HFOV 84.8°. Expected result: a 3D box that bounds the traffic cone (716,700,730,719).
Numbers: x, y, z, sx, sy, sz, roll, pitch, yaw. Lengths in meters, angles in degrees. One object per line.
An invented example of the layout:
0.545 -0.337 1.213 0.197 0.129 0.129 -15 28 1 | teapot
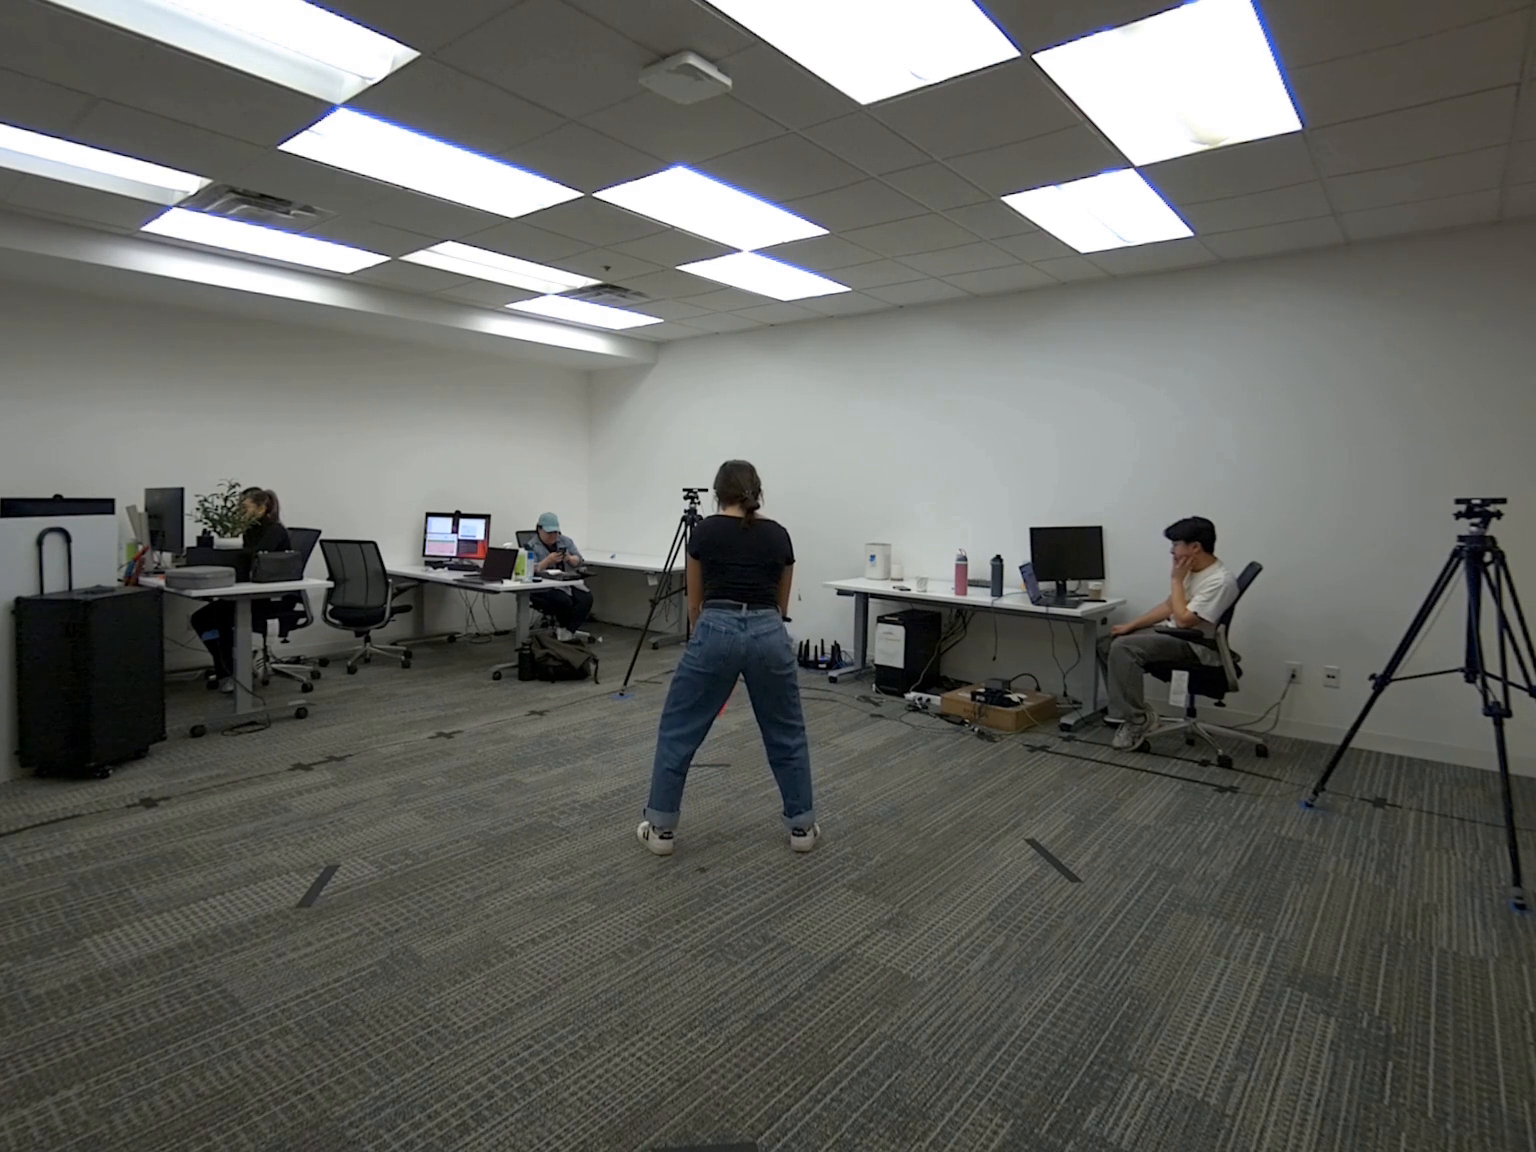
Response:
-0.189 0.469 3.681 0.200 0.376 0.213 0 39 -18 | traffic cone
